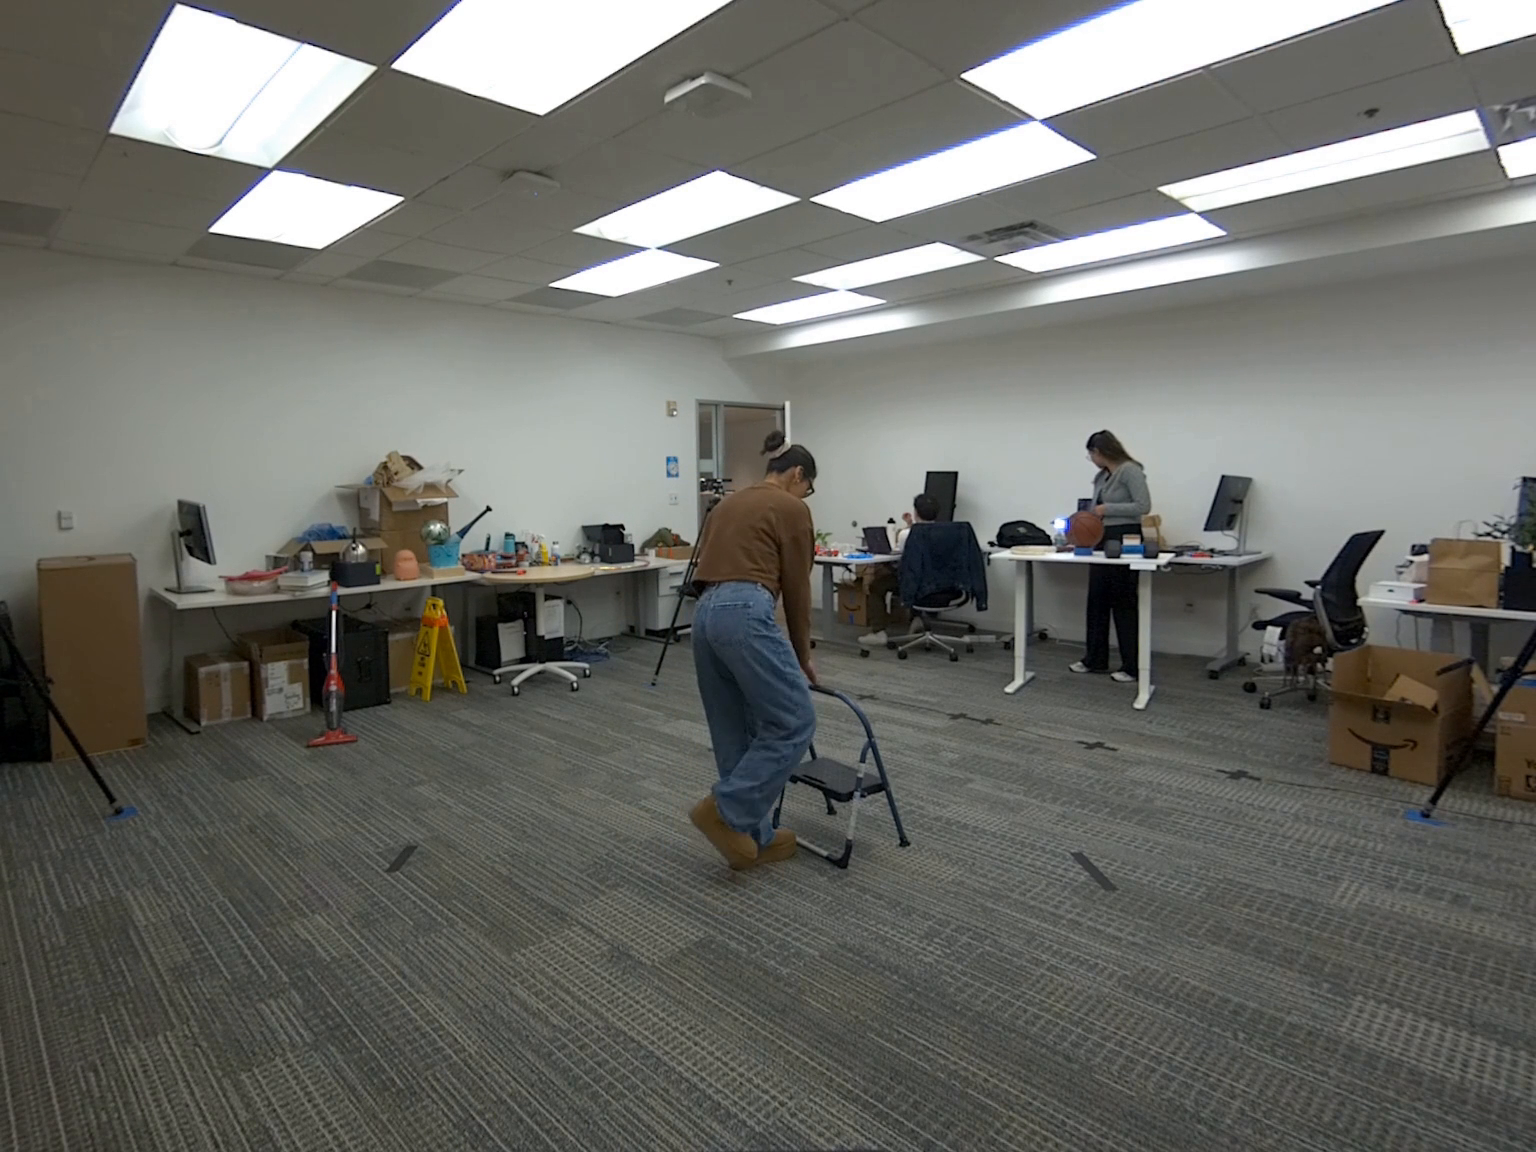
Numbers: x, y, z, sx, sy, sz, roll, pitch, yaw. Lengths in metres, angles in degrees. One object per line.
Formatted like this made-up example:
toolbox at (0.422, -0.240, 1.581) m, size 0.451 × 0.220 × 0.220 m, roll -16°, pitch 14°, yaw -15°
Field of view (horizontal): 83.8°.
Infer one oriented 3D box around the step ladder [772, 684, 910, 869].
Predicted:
step ladder at (0.268, 0.713, 3.291) m, size 0.340 × 0.604 × 0.443 m, roll -5°, pitch 6°, yaw -38°
